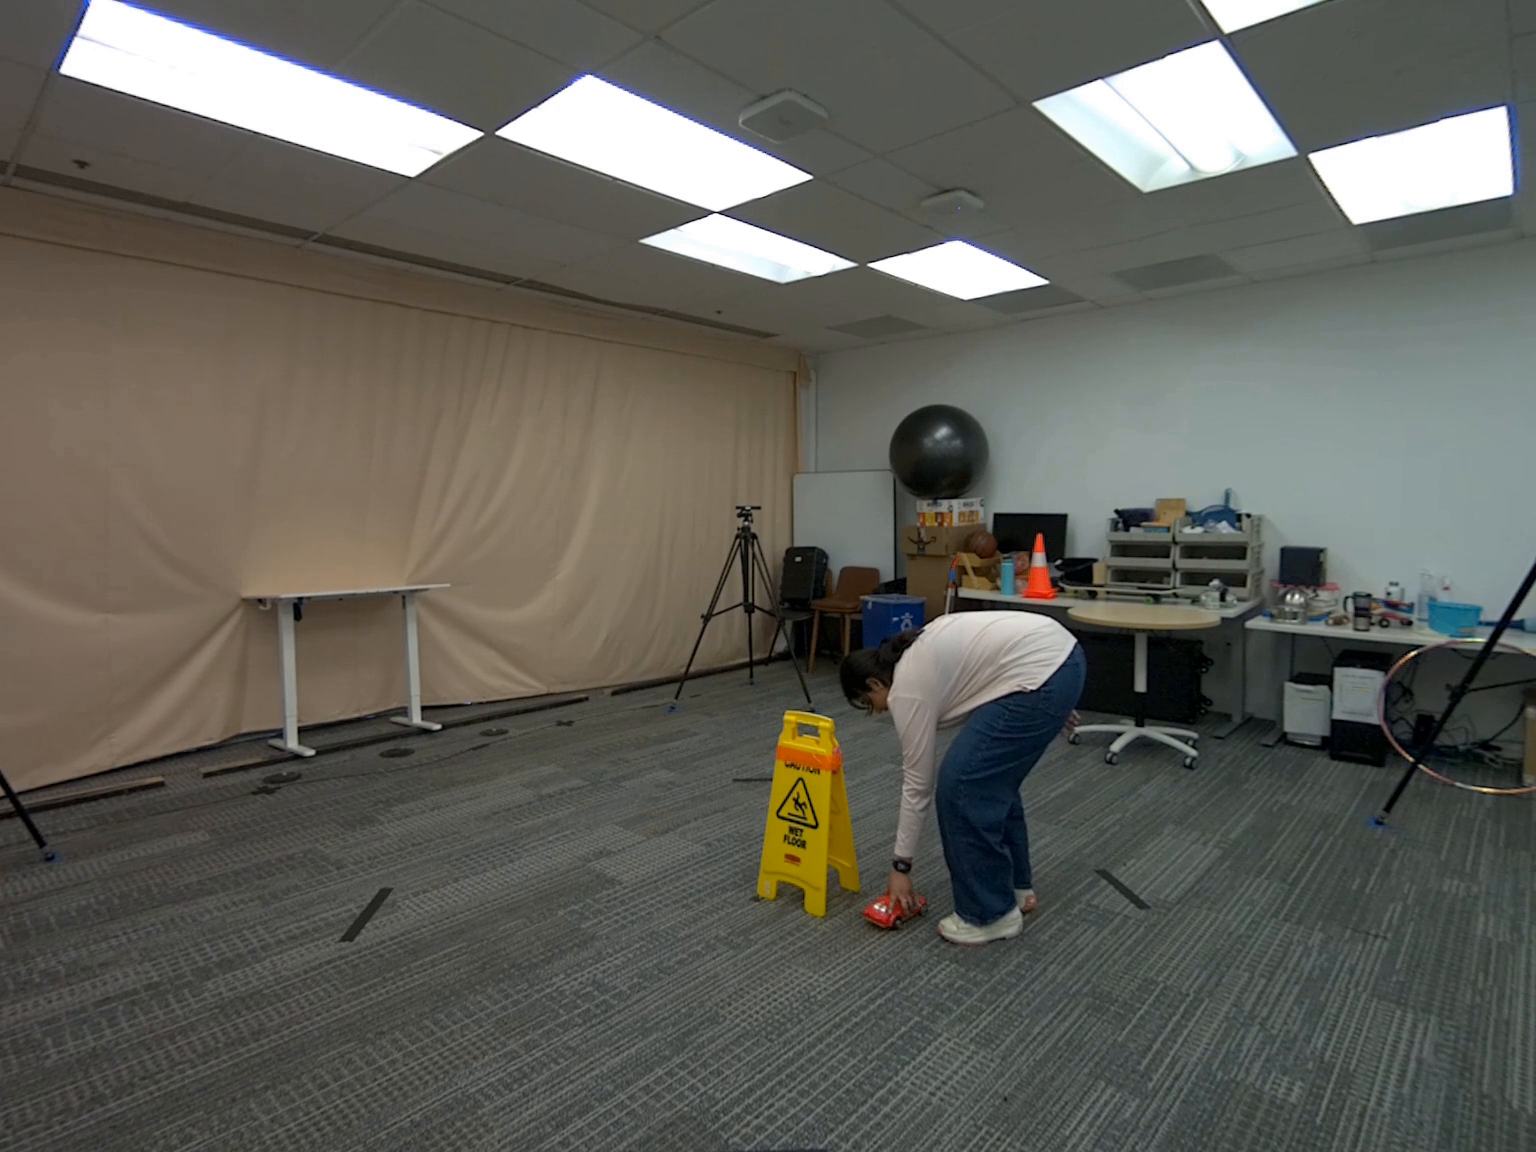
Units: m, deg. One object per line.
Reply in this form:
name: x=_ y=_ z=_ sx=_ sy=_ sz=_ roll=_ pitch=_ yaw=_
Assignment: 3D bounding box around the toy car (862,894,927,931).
toy car: x=0.424 y=1.123 z=2.835 sx=0.246 sy=0.083 sz=0.135 roll=8 pitch=-1 yaw=-41
